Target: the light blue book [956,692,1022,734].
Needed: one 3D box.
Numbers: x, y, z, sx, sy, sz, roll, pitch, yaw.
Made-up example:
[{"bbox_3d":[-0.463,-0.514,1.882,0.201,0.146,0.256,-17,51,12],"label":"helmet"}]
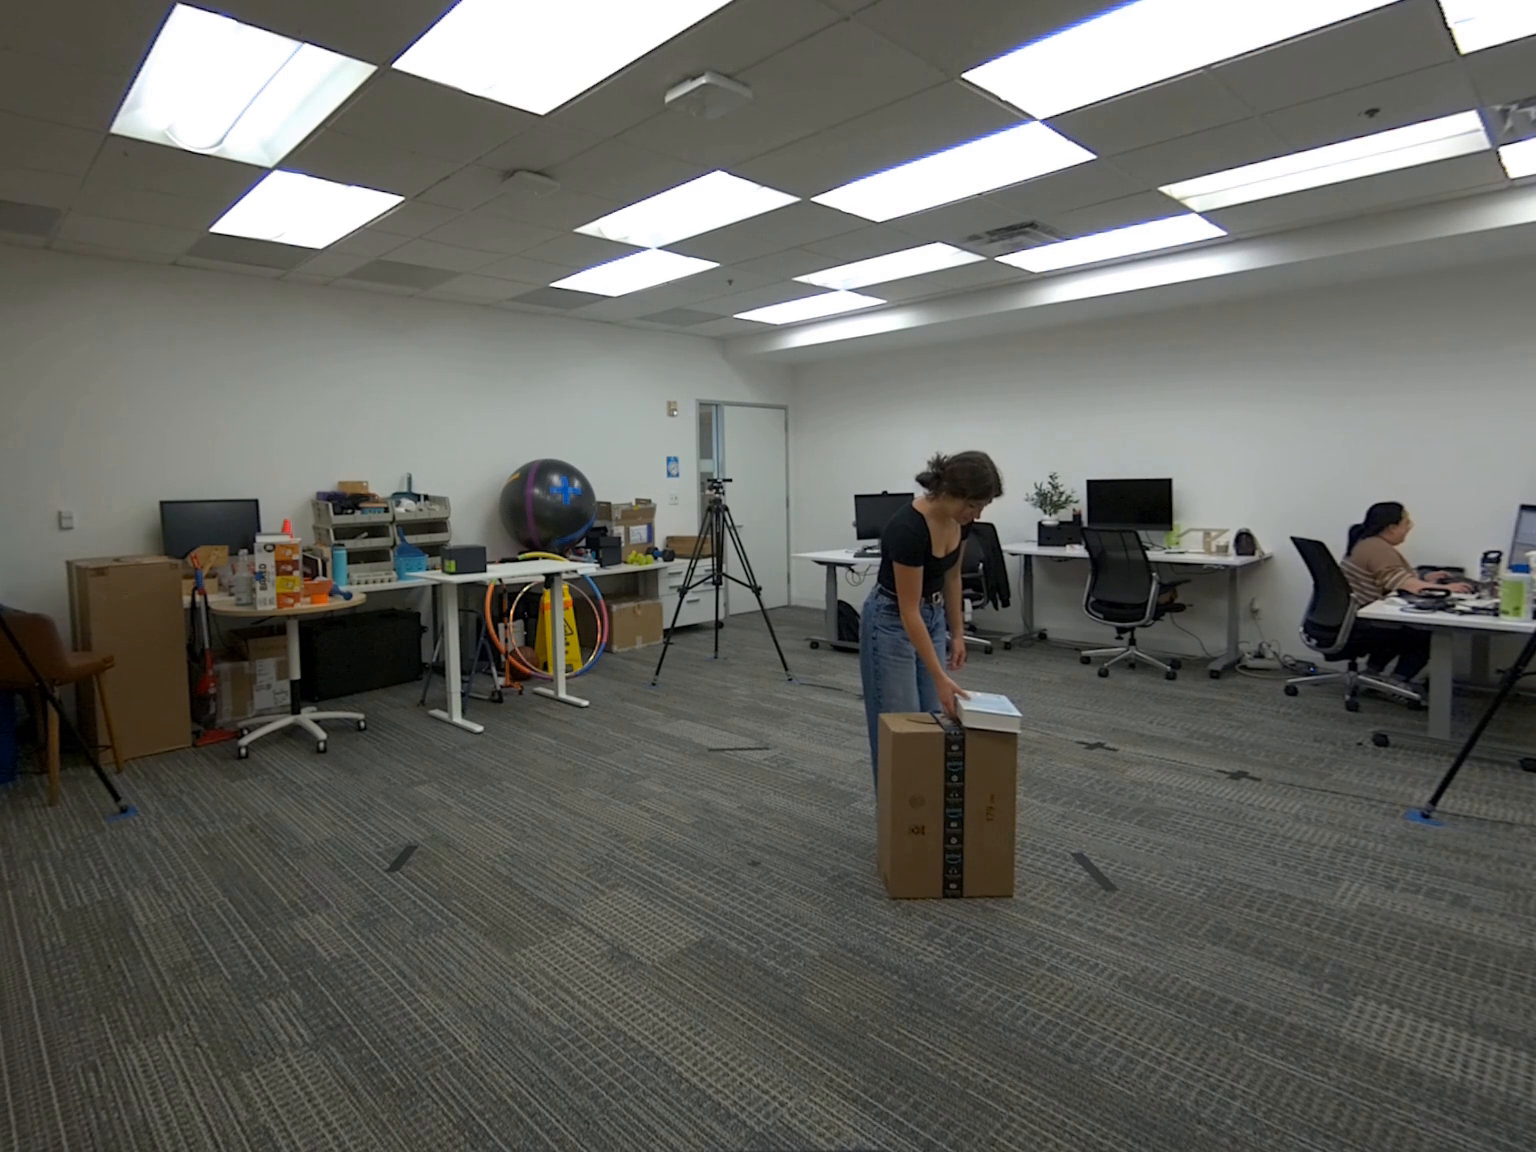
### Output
[{"bbox_3d":[0.745,0.458,2.891,0.192,0.059,0.261,6,7,4],"label":"light blue book"}]
